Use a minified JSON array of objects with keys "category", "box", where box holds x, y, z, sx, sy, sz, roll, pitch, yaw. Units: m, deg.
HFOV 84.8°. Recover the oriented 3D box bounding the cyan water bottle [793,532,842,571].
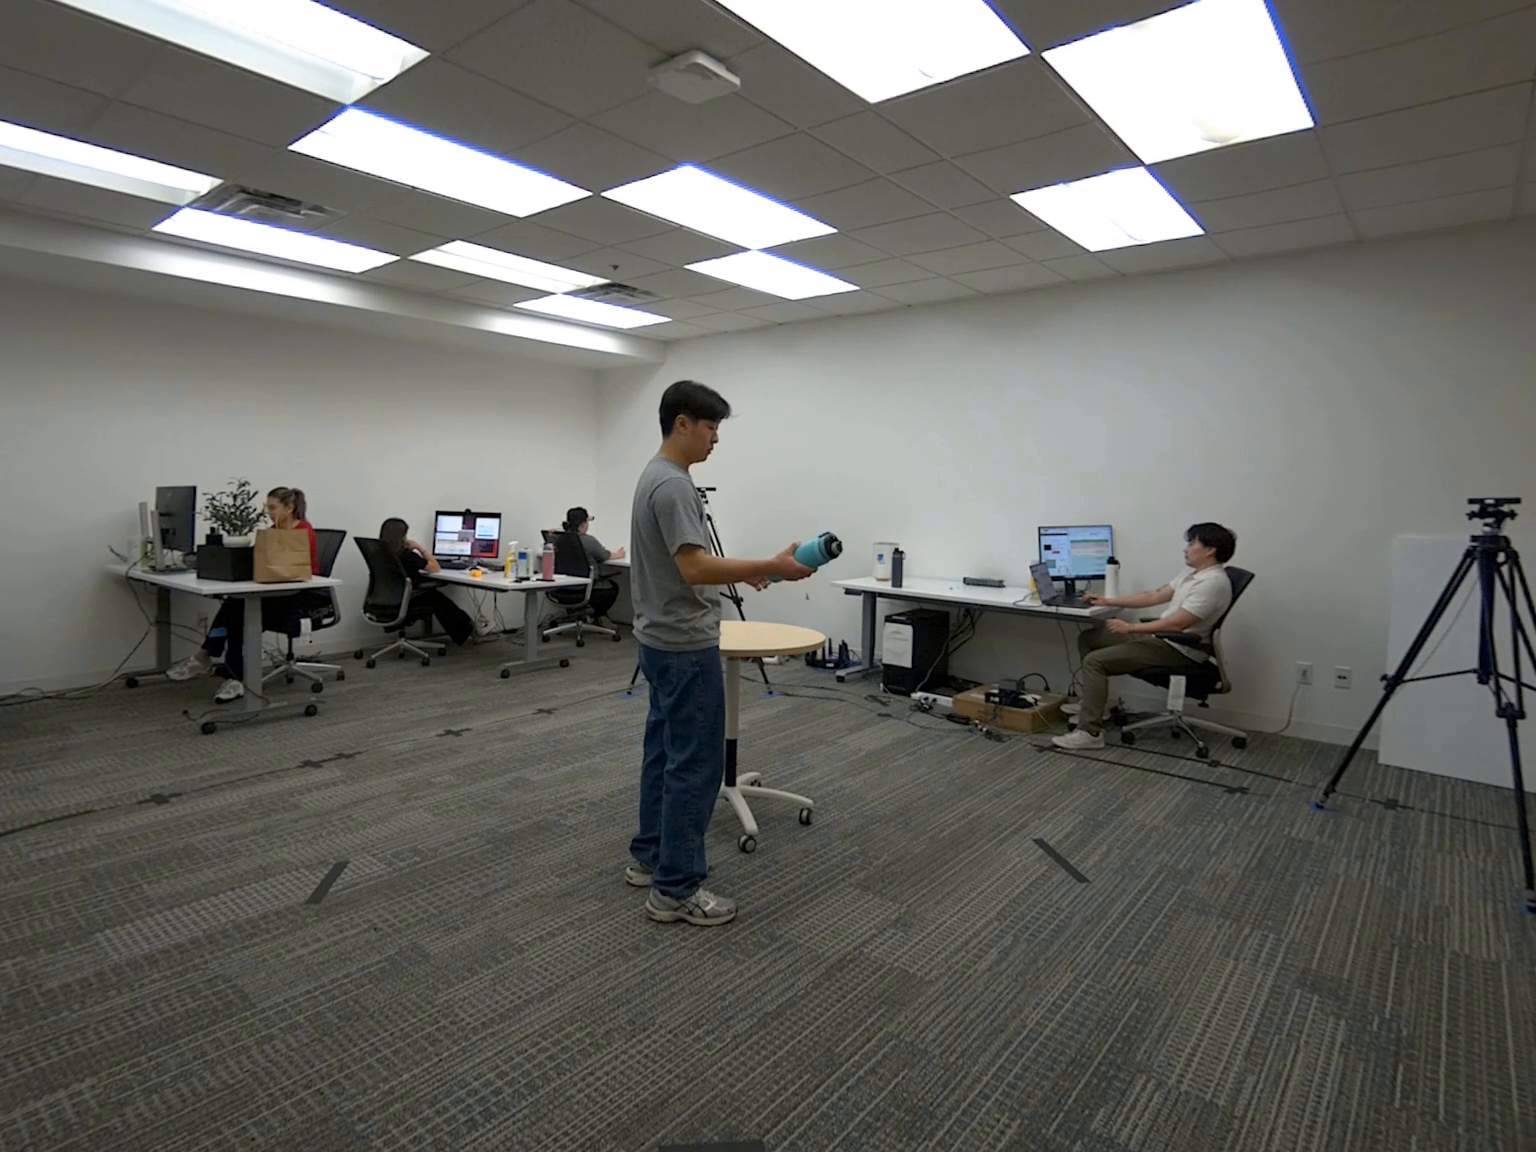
[{"category":"cyan water bottle","box":[0.107,-0.068,2.738,0.287,0.094,0.089,-28,-16,38]}]
